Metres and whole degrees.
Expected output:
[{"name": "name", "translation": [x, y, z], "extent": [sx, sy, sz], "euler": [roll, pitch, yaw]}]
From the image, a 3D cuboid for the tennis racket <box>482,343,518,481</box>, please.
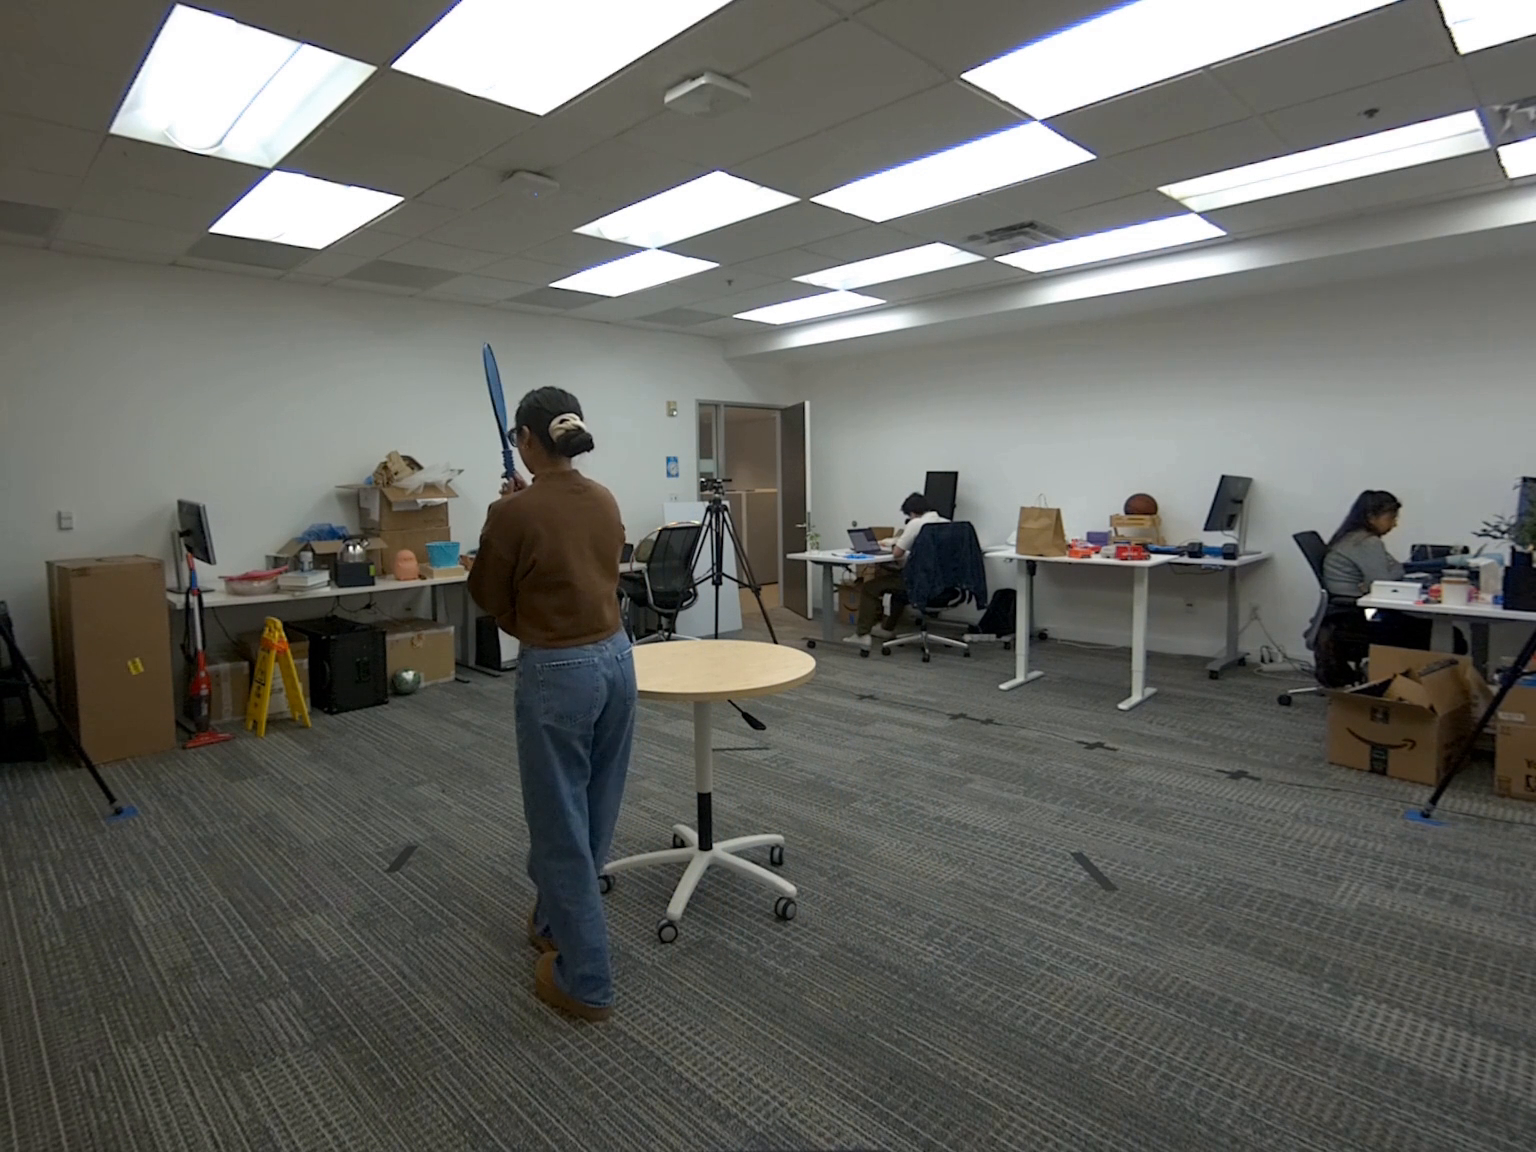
[{"name": "tennis racket", "translation": [-0.737, -0.452, 2.413], "extent": [0.031, 0.436, 0.214], "euler": [-11, -6, -10]}]
